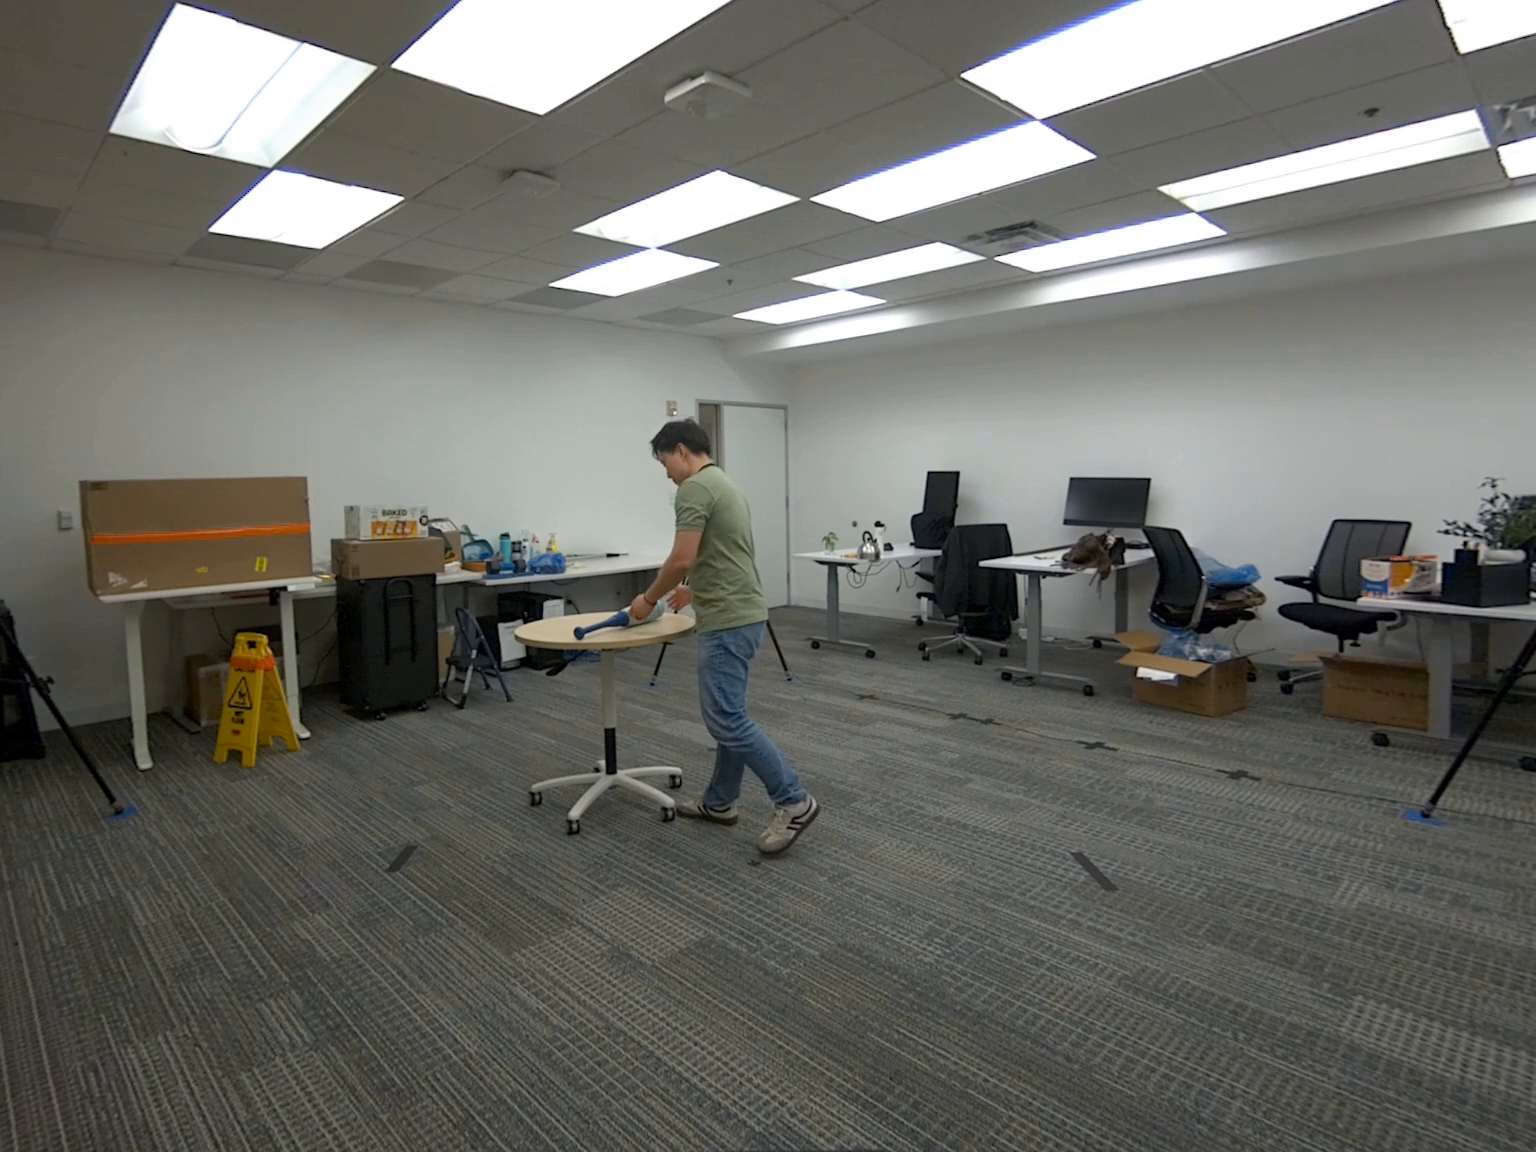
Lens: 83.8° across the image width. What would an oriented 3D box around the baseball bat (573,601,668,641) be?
[{"bbox_3d":[-0.611,0.182,3.535,0.091,0.088,0.533,1,9,27],"label":"baseball bat"}]
